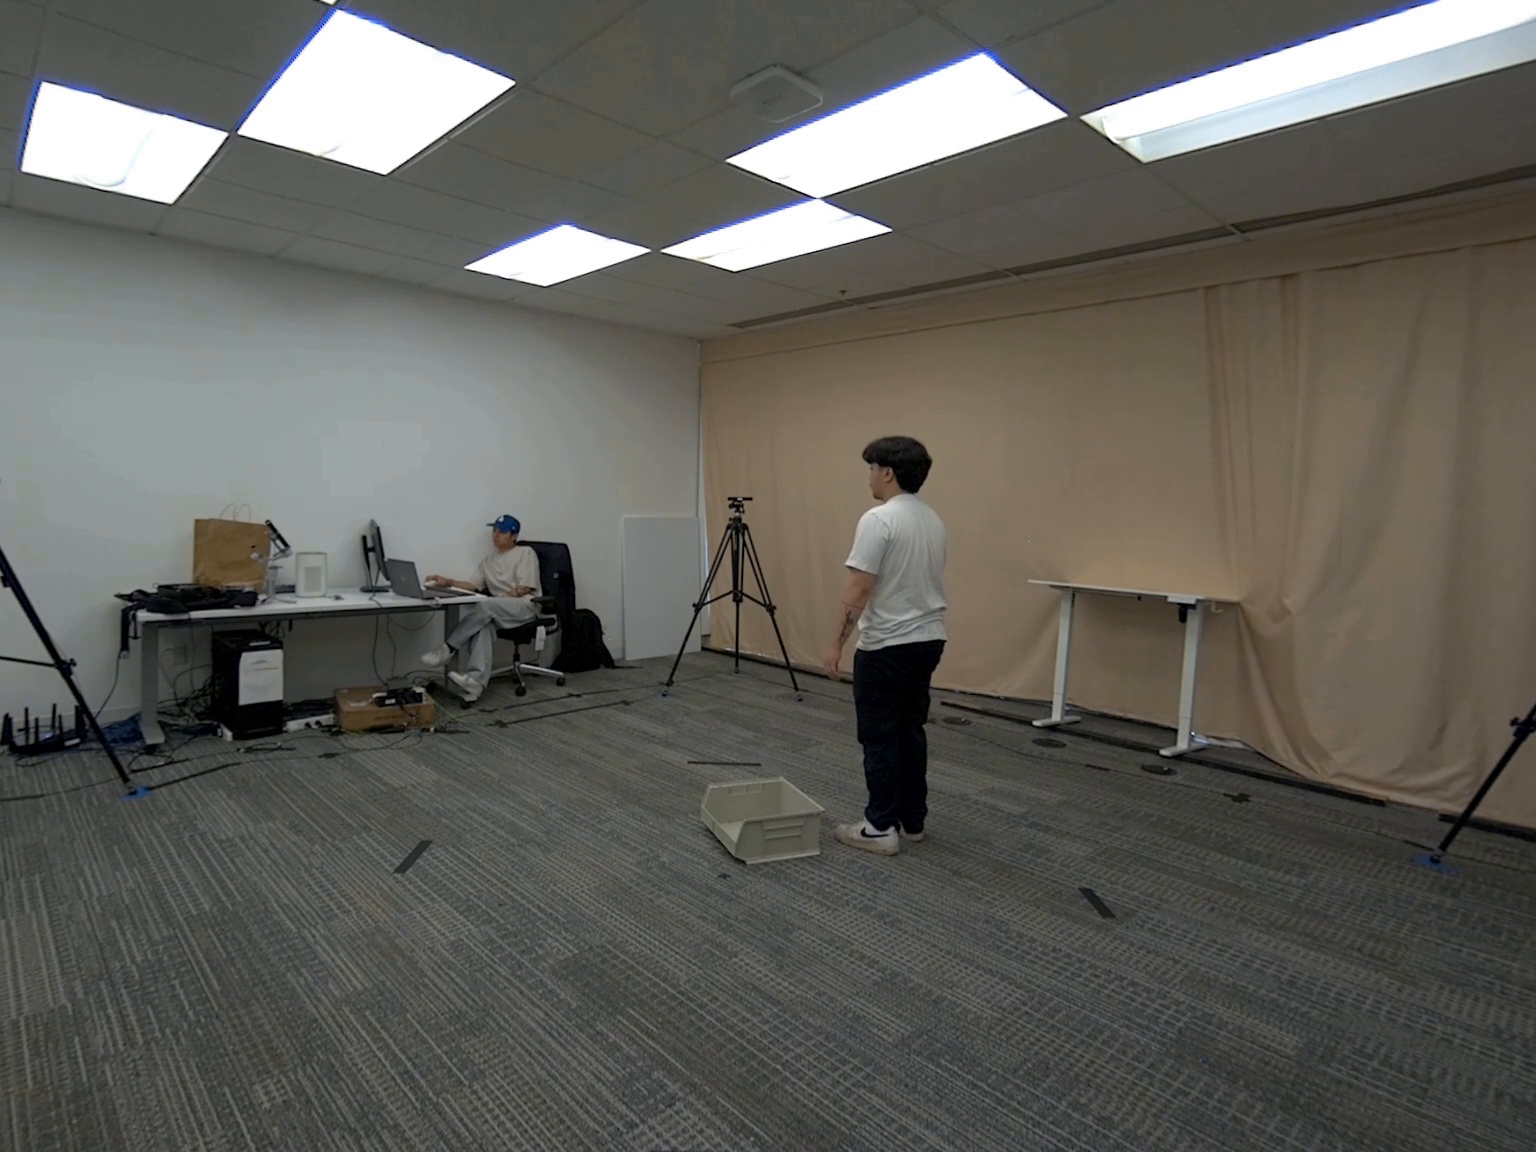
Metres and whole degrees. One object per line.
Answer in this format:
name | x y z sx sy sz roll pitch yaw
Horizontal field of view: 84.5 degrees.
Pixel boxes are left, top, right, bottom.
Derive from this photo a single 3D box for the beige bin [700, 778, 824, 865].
beige bin | -0.040 0.991 3.440 0.371 0.188 0.430 0 4 -22
